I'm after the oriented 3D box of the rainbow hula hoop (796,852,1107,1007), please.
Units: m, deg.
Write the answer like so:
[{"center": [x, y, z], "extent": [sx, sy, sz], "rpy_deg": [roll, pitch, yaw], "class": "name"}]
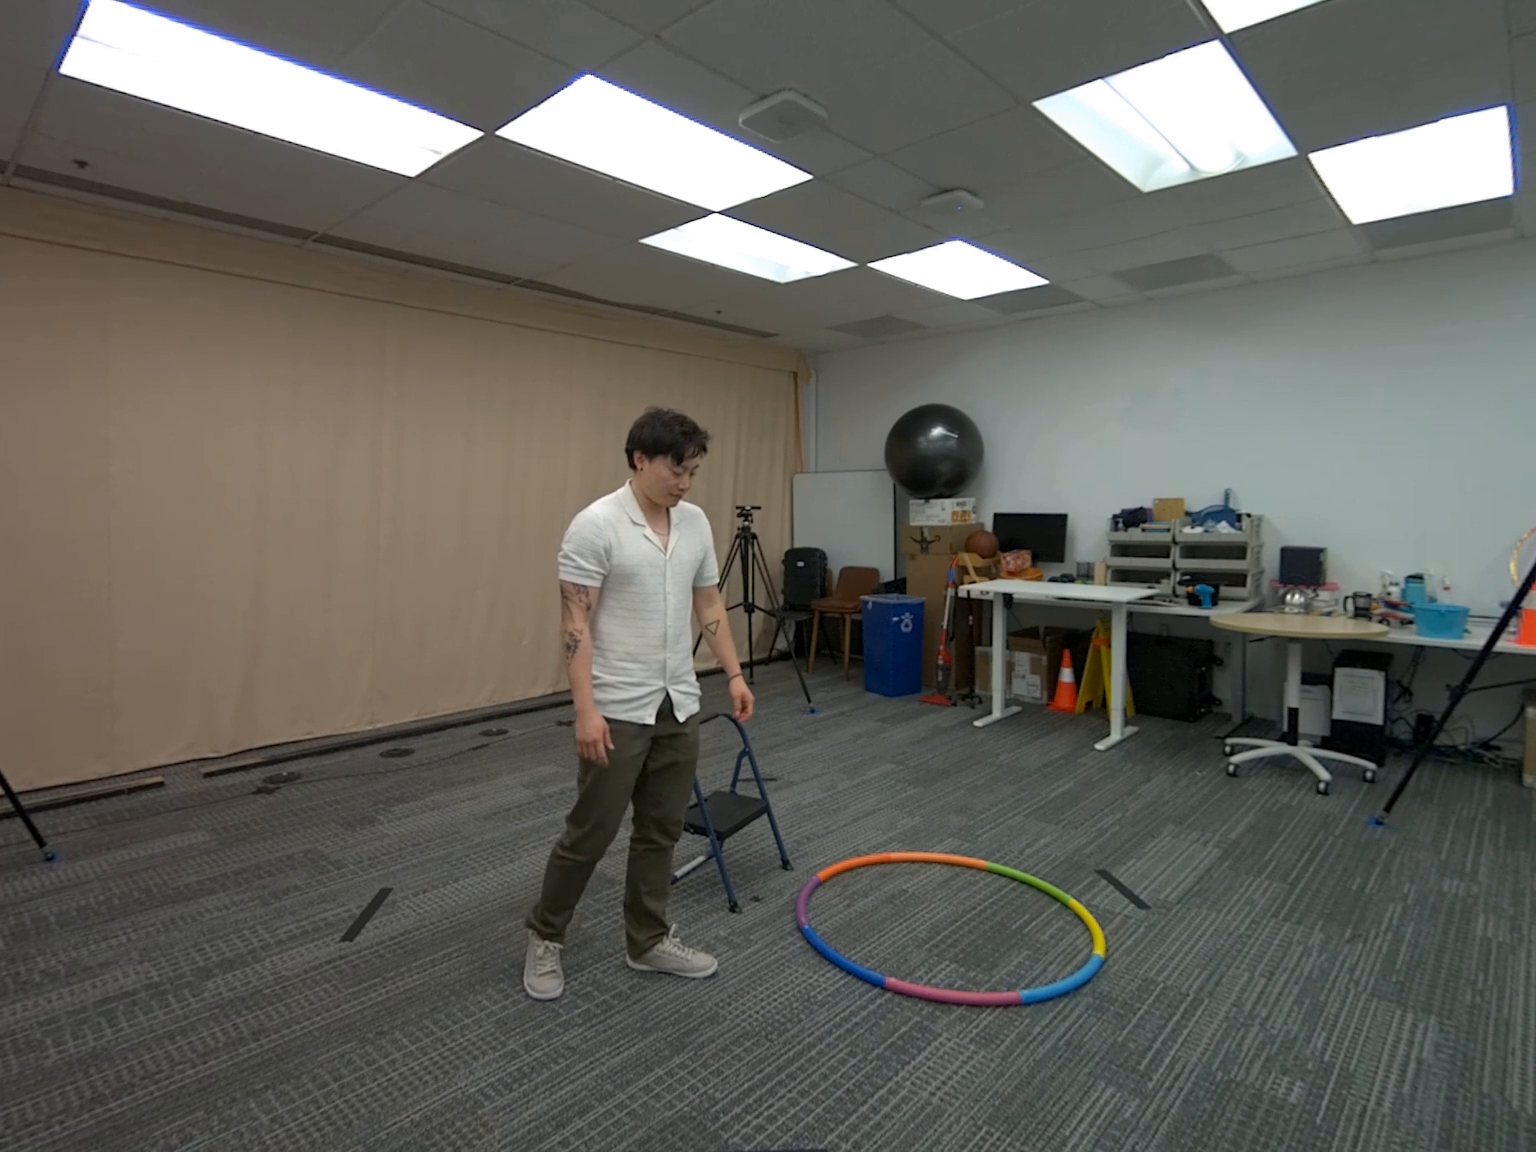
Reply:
[{"center": [0.593, 1.127, 2.820], "extent": [0.978, 0.035, 0.982], "rpy_deg": [0, 5, -2], "class": "rainbow hula hoop"}]
